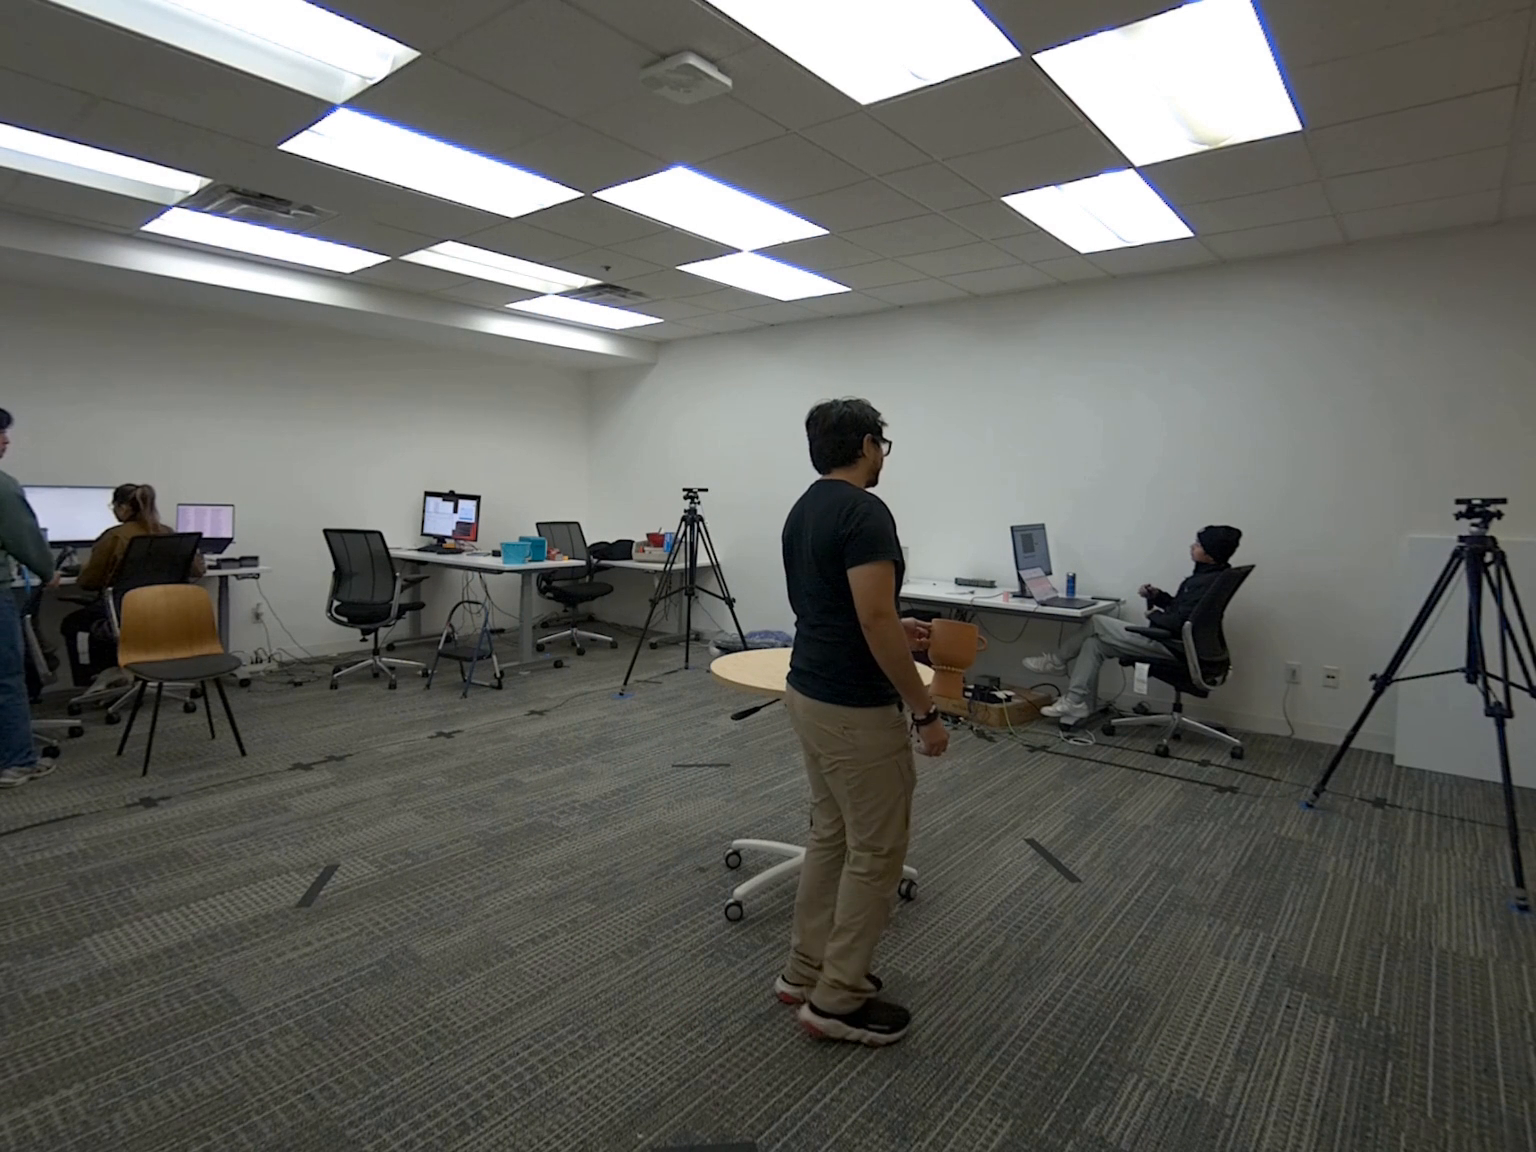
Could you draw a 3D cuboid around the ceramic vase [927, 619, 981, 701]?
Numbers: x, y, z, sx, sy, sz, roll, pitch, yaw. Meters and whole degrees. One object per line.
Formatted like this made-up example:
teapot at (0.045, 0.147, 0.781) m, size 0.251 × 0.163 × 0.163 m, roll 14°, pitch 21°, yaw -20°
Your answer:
ceramic vase at (0.531, 0.244, 2.500) m, size 0.164 × 0.221 × 0.129 m, roll 6°, pitch -7°, yaw 44°
